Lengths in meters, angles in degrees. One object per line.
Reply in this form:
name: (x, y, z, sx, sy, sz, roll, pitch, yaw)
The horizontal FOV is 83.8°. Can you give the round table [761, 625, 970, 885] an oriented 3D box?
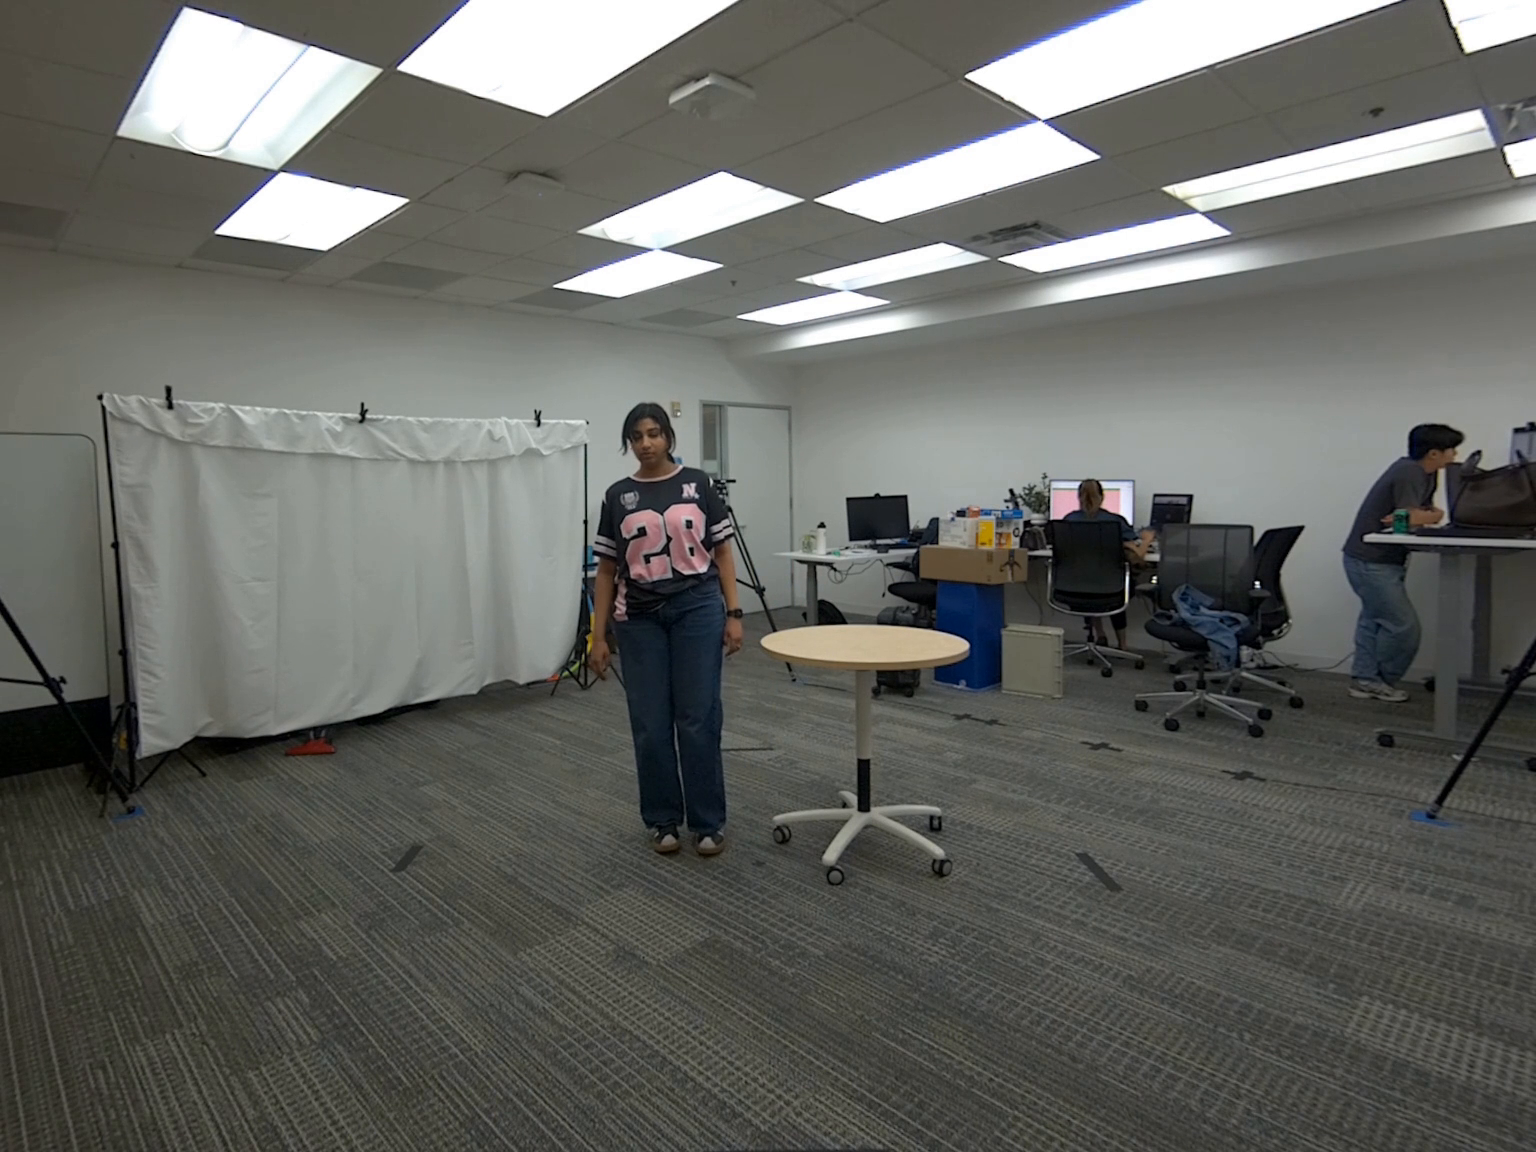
round table: (0.363, 0.630, 3.228, 0.784, 0.784, 0.789, -1, 4, -2)
